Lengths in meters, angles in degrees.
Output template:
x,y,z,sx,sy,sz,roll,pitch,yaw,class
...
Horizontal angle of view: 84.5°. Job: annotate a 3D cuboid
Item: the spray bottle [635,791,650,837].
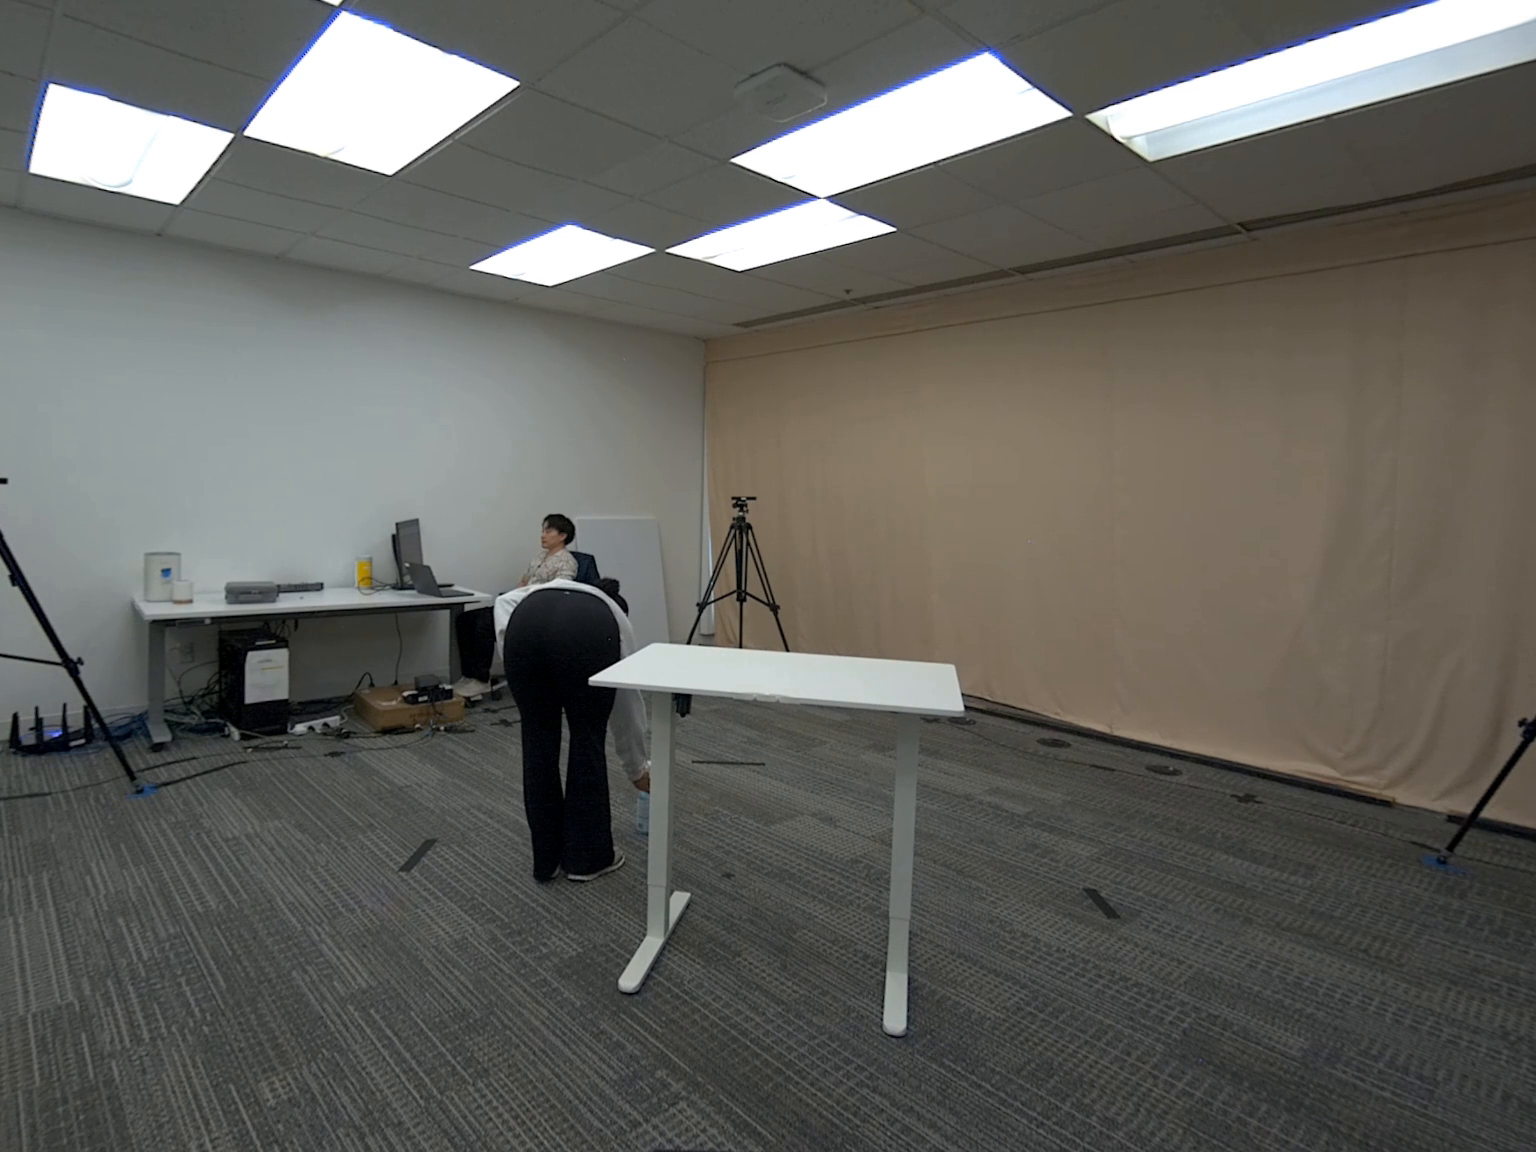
x,y,z,sx,sy,sz,roll,pitch,yaw,class
-0.511,0.921,3.500,0.088,0.296,0.089,3,5,13,spray bottle
